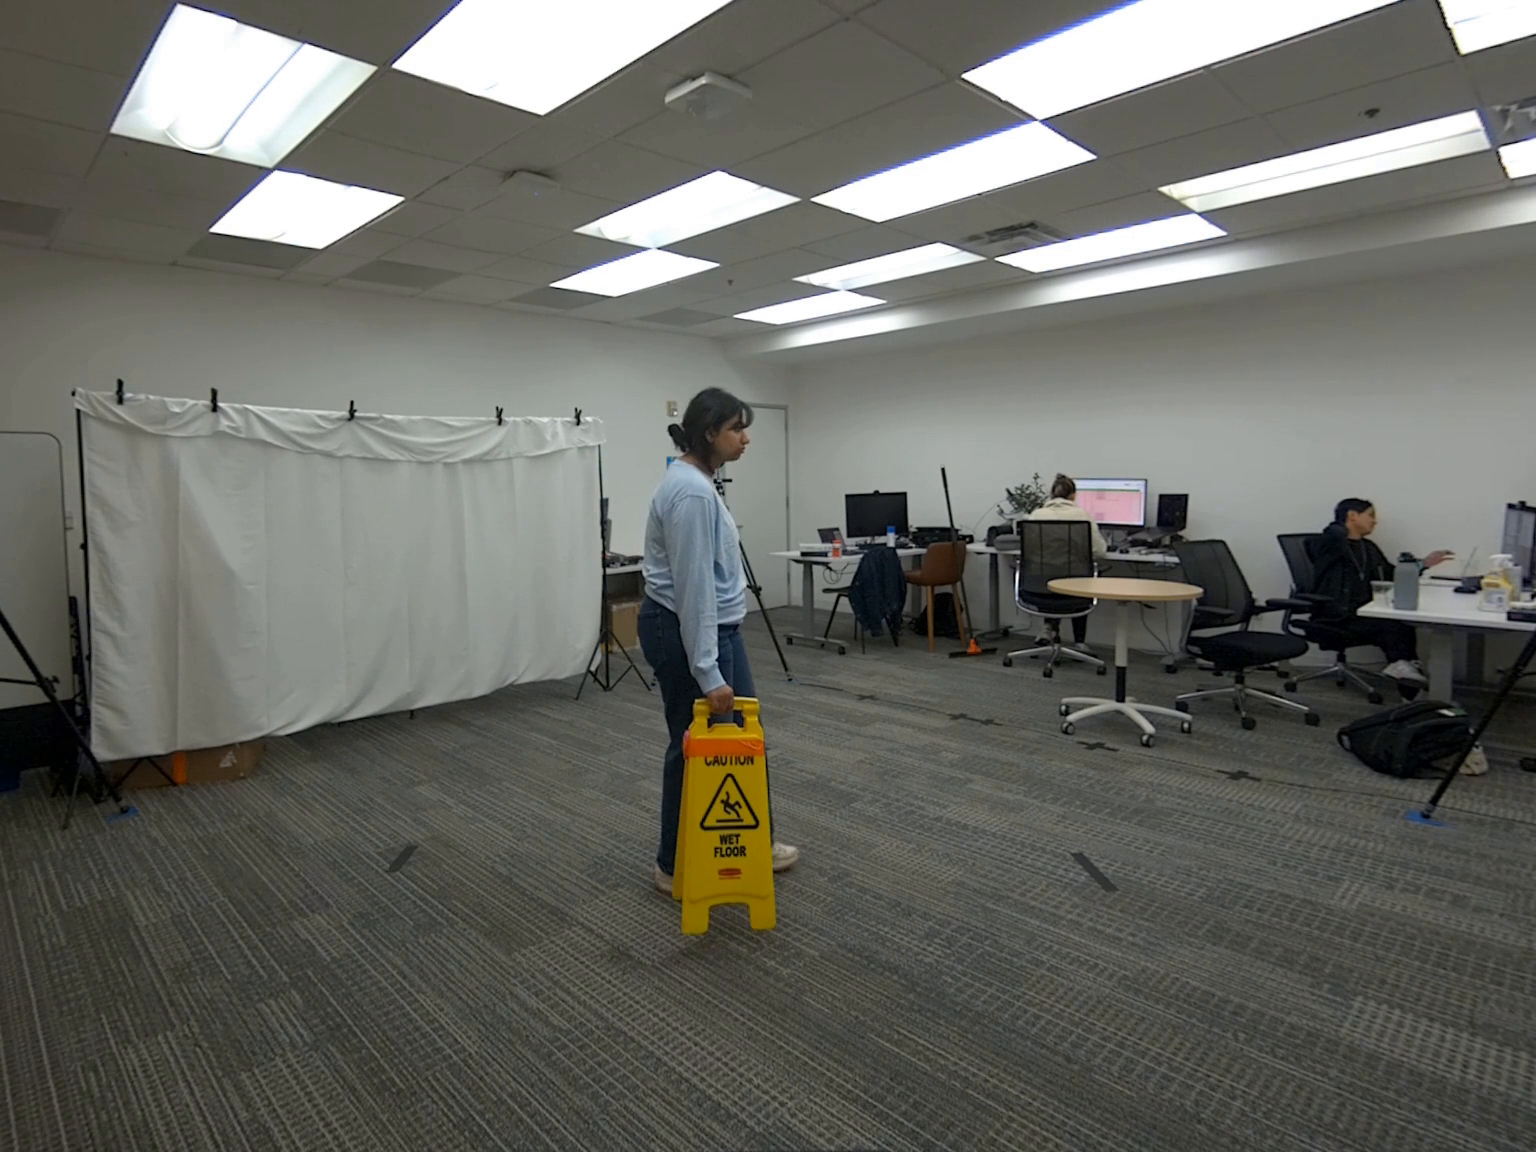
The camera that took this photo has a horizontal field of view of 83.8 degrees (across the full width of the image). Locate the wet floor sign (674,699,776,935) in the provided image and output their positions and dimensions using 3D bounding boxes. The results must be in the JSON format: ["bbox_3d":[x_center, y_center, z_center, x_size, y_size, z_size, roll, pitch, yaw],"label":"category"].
[{"bbox_3d":[-0.133,0.701,2.588,0.279,0.645,0.293,0,2,-12],"label":"wet floor sign"}]
